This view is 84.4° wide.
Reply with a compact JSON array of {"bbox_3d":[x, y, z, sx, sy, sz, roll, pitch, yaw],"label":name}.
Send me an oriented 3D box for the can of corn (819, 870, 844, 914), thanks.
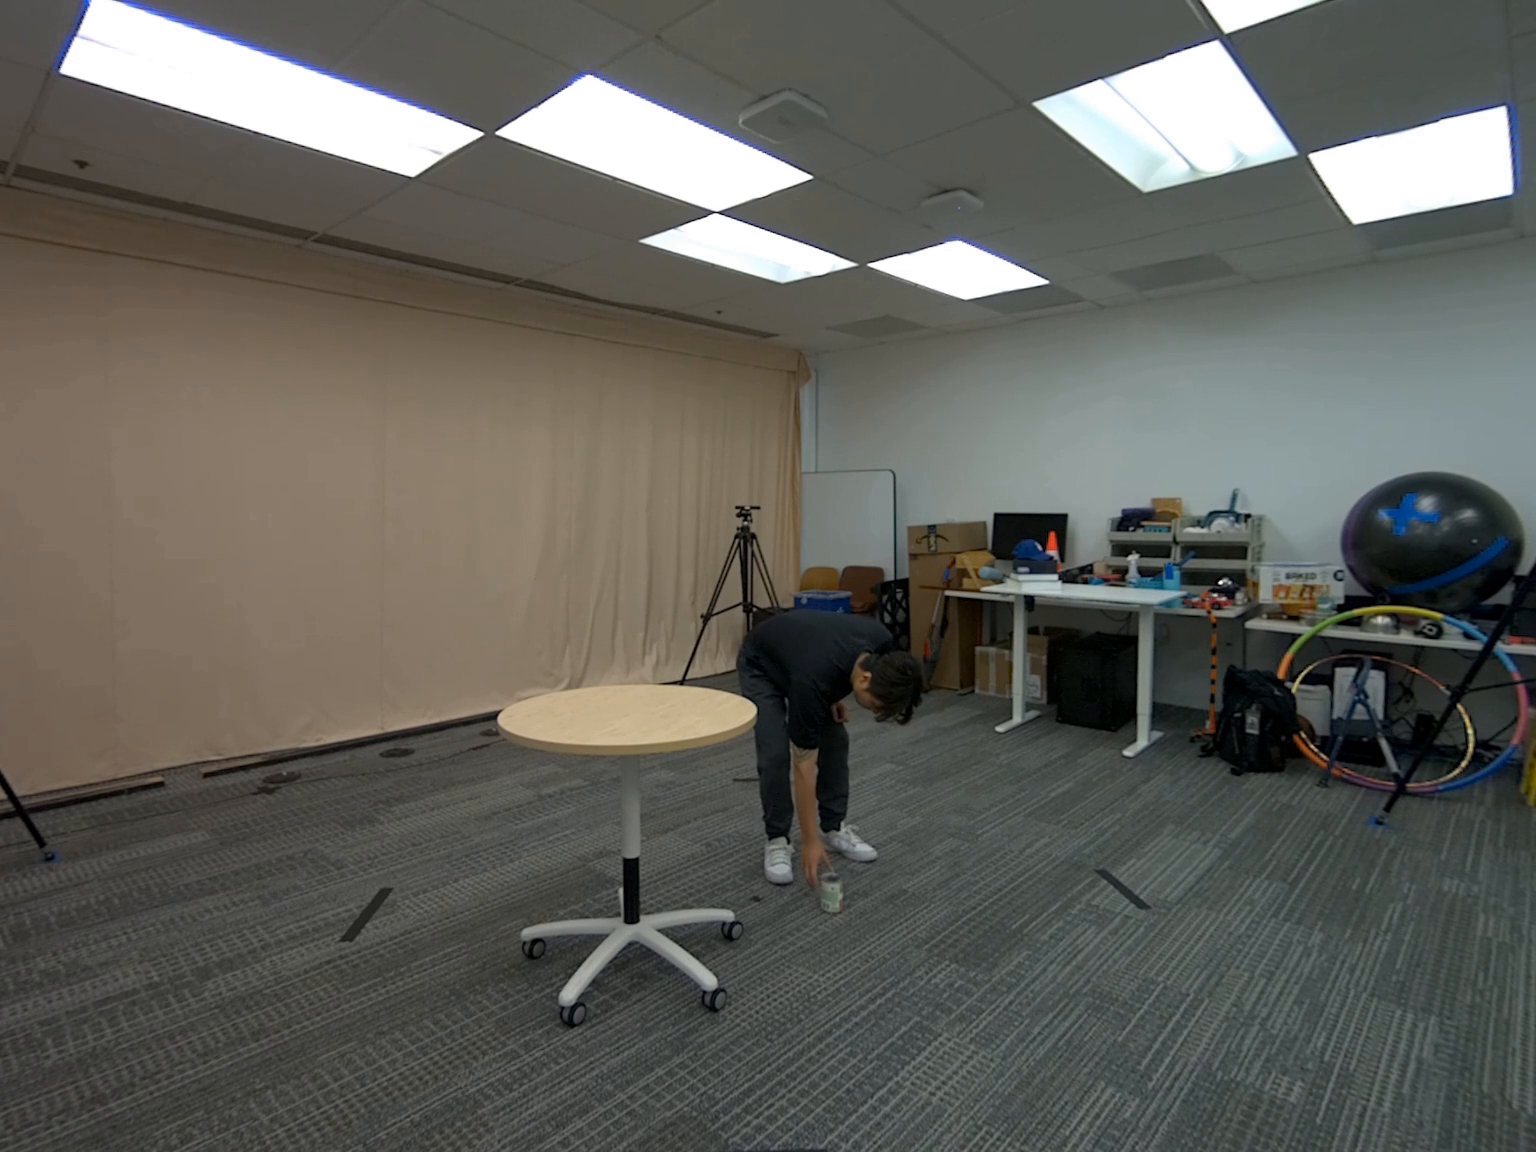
[{"bbox_3d":[0.219,1.092,2.907,0.074,0.111,0.074,-2,3,-2],"label":"can of corn"}]
